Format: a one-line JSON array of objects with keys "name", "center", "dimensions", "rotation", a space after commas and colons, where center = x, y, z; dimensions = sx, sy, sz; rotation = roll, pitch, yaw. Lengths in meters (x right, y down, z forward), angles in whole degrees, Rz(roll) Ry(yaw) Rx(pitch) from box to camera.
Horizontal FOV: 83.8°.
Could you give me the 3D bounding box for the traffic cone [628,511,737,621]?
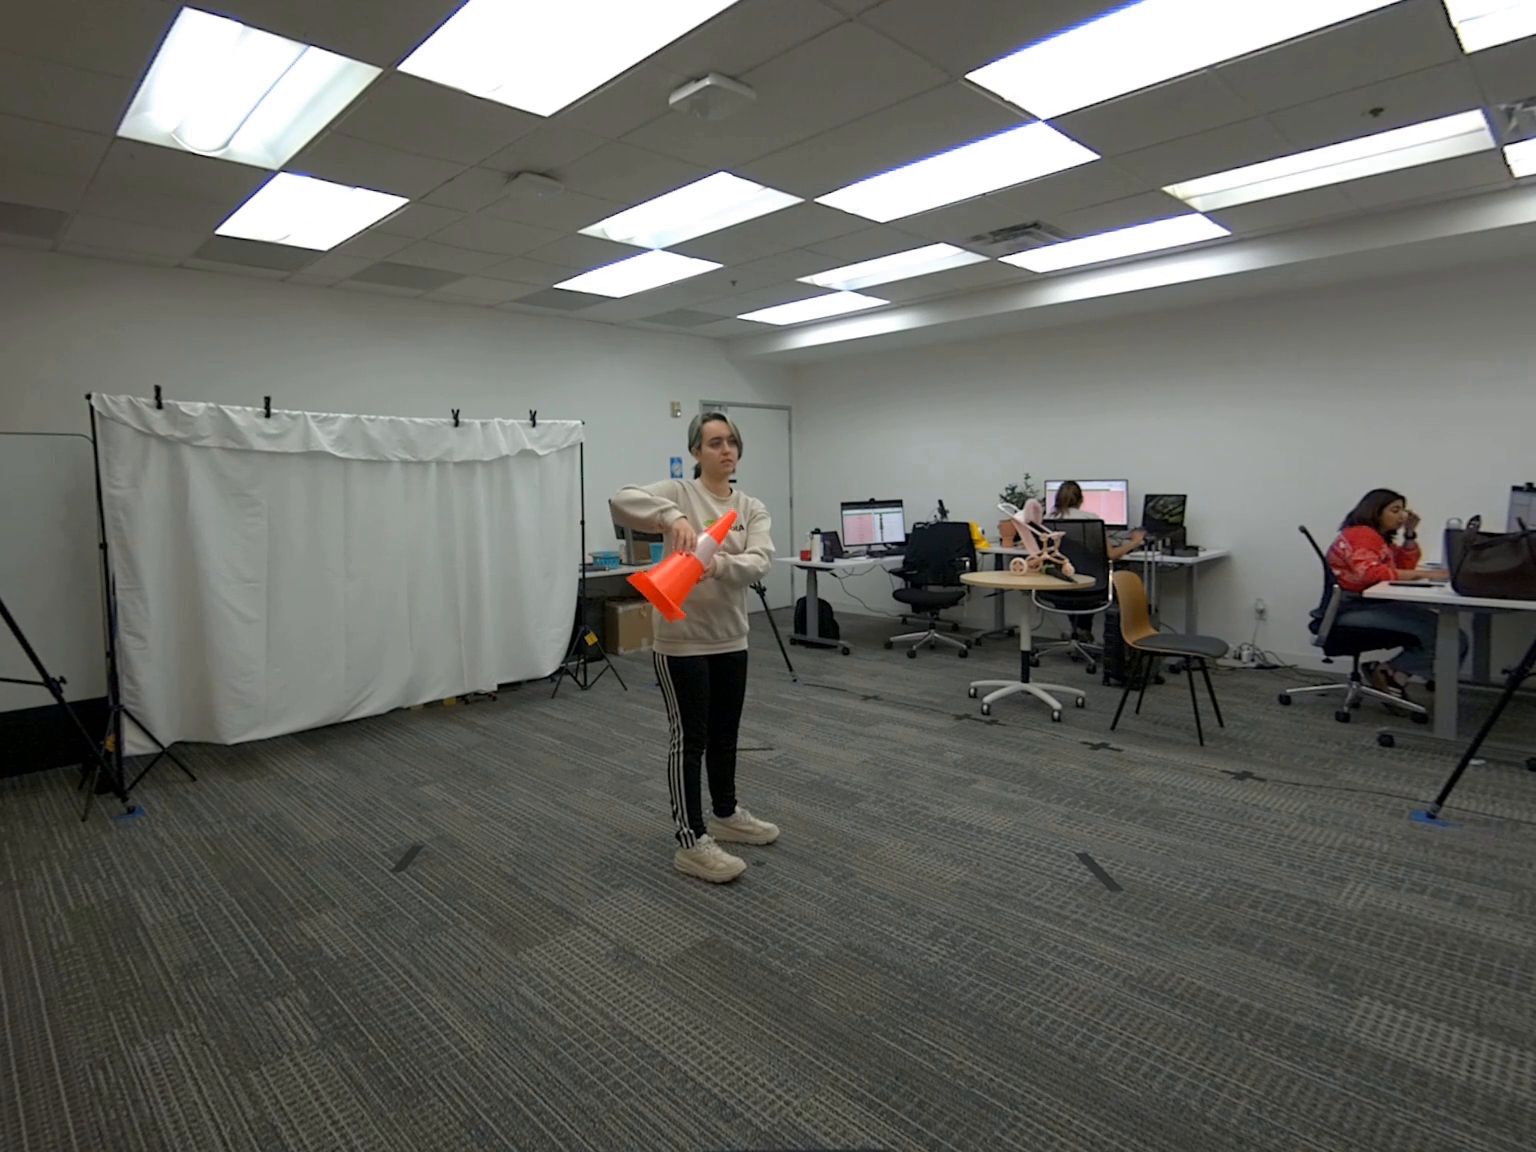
[{"name": "traffic cone", "center": [-0.235, -0.065, 2.702], "dimensions": [0.384, 0.203, 0.205], "rotation": [-49, 9, -20]}]
